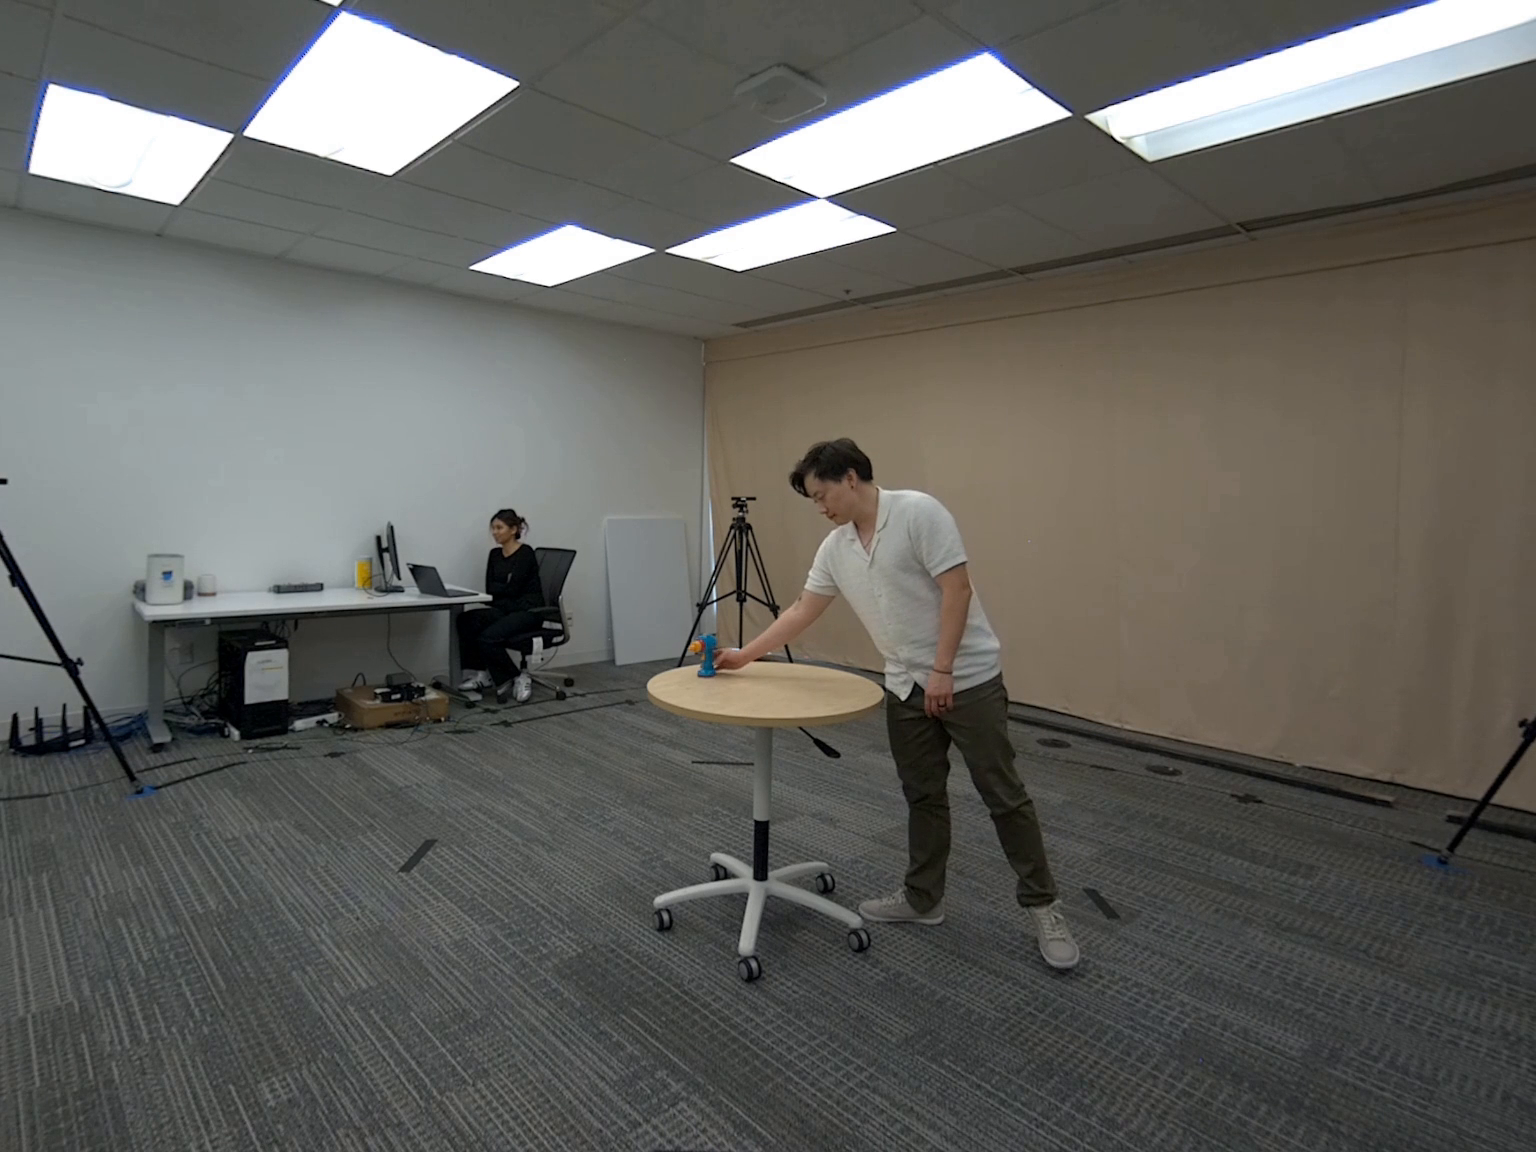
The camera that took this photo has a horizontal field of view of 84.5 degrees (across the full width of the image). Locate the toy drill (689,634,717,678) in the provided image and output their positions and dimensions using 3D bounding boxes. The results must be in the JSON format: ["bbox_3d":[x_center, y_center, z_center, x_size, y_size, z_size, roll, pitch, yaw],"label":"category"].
[{"bbox_3d":[-0.221,0.270,2.819,0.062,0.145,0.167,2,5,24],"label":"toy drill"}]
